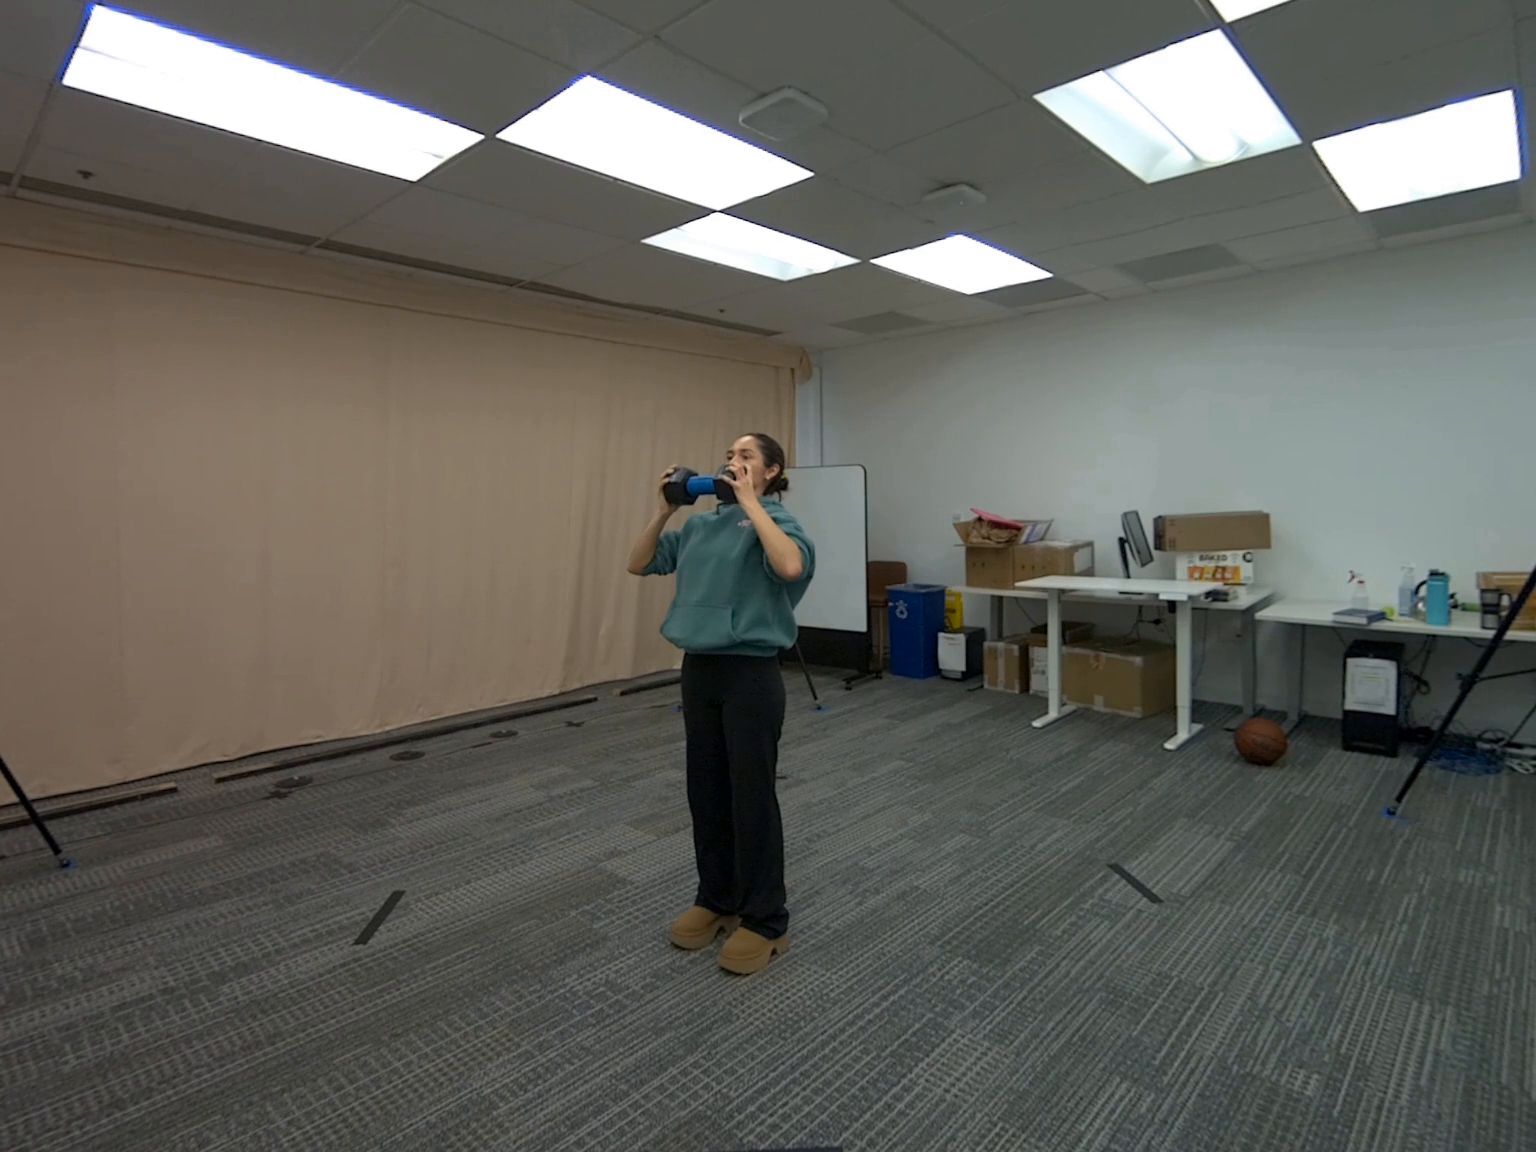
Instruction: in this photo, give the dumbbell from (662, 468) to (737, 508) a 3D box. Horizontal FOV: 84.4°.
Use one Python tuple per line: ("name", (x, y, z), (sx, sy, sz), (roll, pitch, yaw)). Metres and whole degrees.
("dumbbell", (-0.174, -0.276, 2.570), (0.303, 0.121, 0.107), (1, 25, 37))
